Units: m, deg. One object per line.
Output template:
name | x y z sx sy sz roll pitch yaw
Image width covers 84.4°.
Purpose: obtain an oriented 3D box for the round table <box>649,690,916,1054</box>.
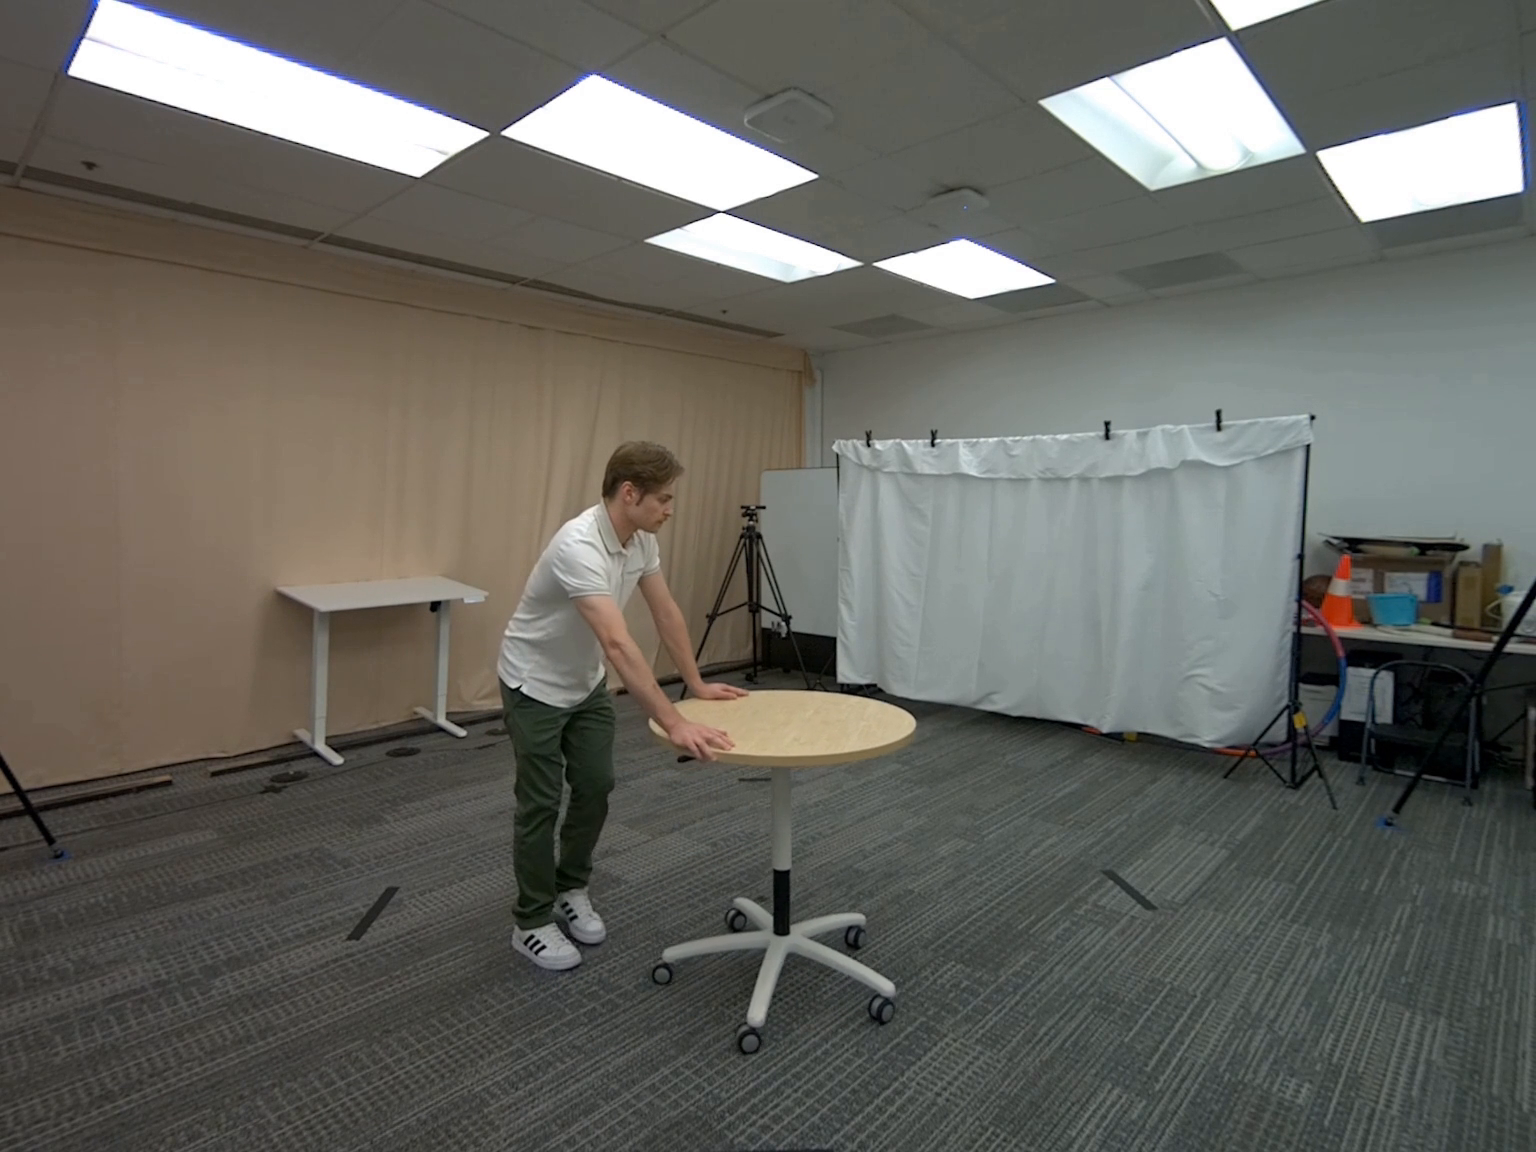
round table | 0.049 0.806 2.453 0.763 0.792 0.767 0 4 -2
